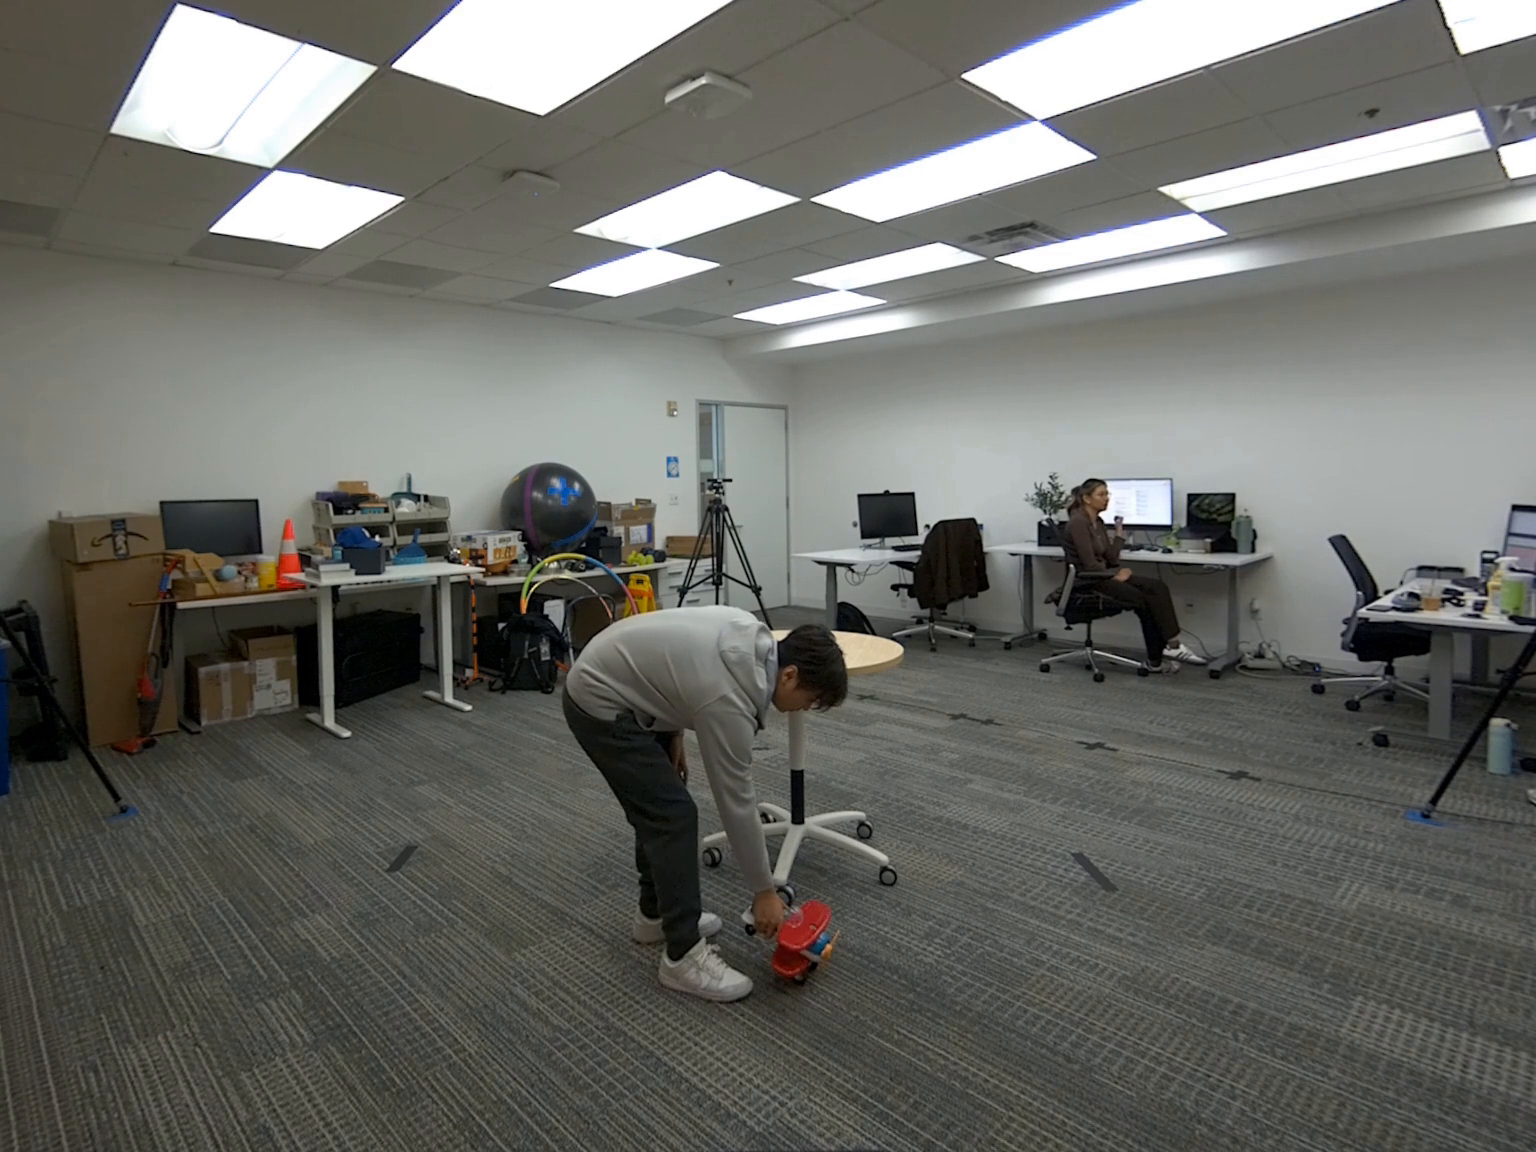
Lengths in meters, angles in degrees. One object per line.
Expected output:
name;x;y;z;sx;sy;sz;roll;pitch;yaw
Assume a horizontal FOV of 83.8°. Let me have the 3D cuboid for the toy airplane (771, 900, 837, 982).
toy airplane;0.054;1.022;2.401;0.258;0.155;0.254;25;18;-5
